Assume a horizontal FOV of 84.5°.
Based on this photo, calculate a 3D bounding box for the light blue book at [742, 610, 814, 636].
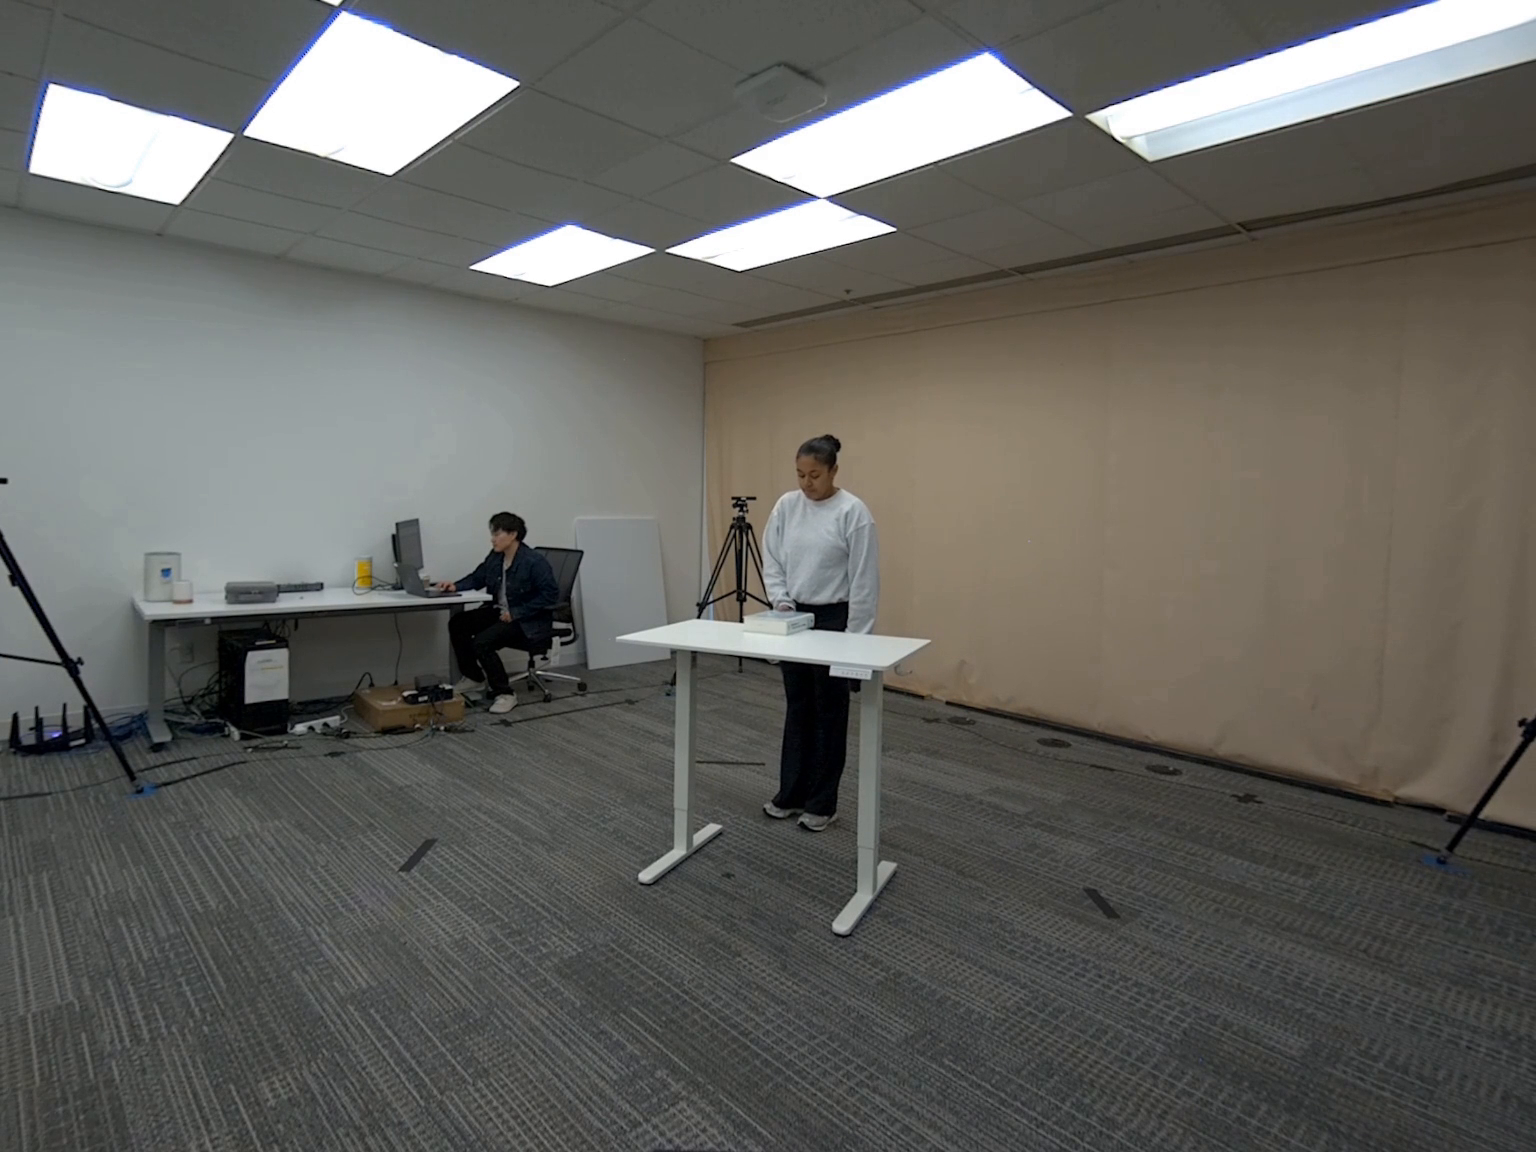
[{"bbox_3d":[0.038,0.186,3.311,0.196,0.059,0.256,4,5,31],"label":"light blue book"}]
